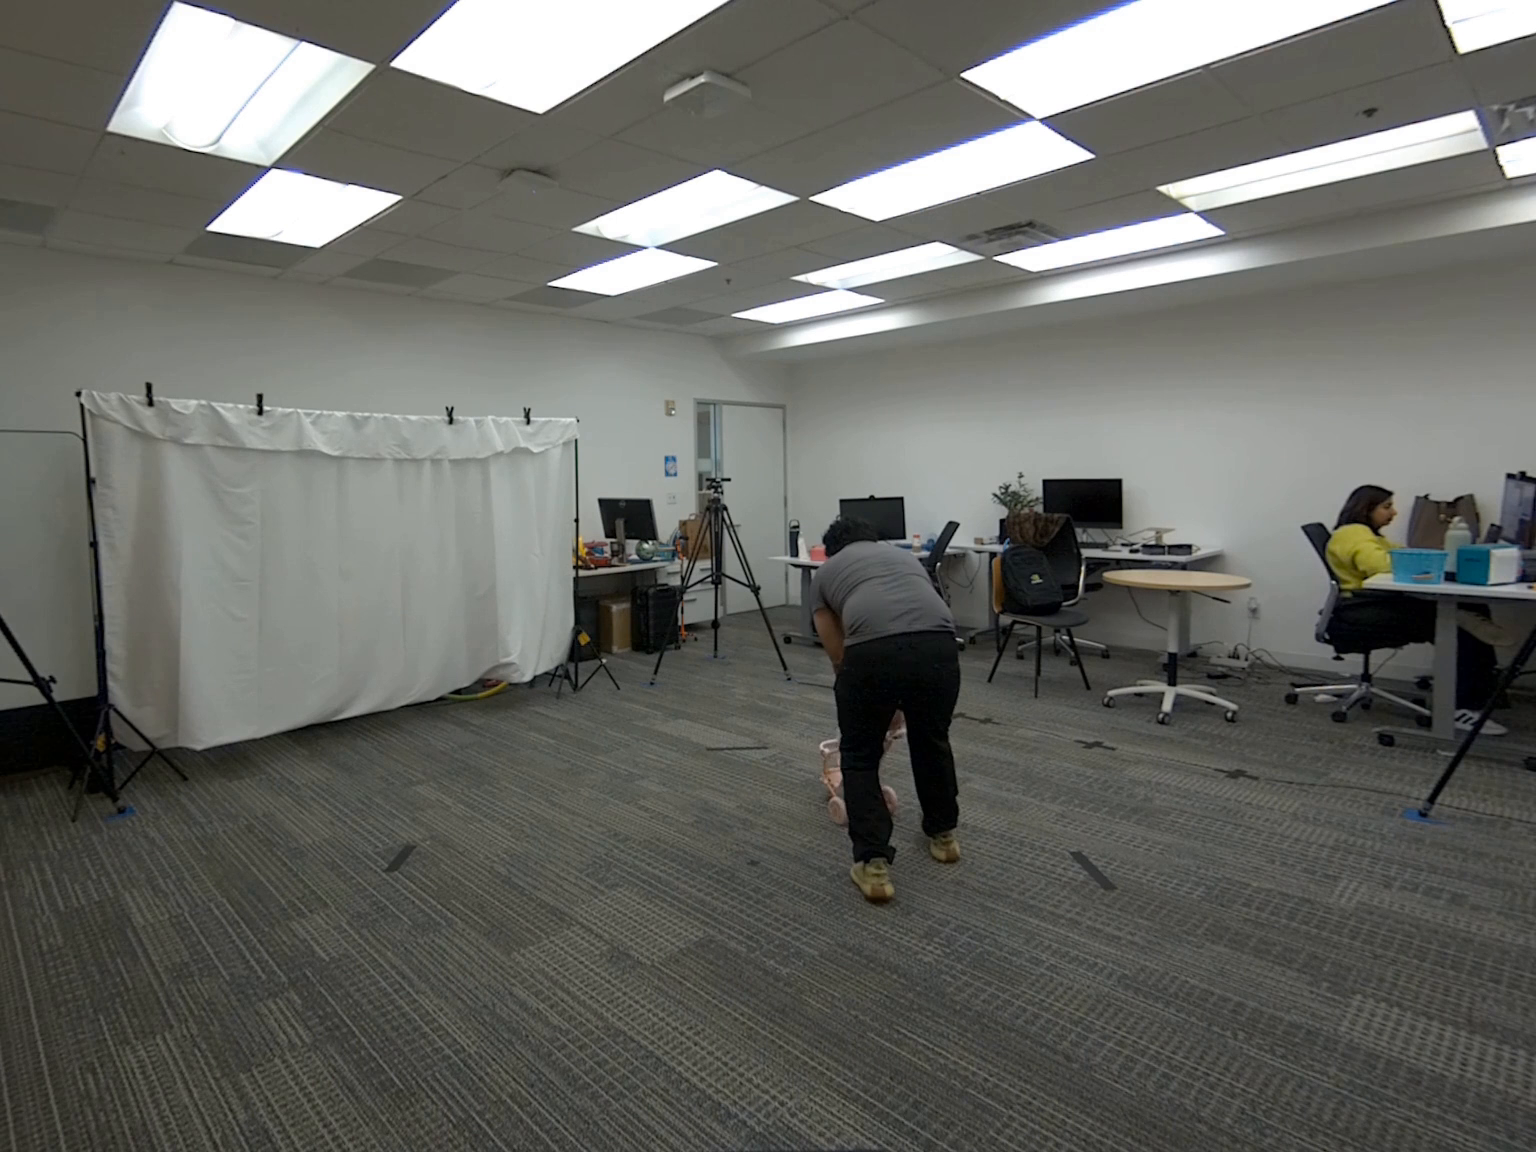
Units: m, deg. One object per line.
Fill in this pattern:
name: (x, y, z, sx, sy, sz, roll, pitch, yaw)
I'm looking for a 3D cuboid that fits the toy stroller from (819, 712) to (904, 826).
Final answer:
toy stroller: (0.366, 0.765, 3.533, 0.276, 0.526, 0.354, -2, 24, -24)
